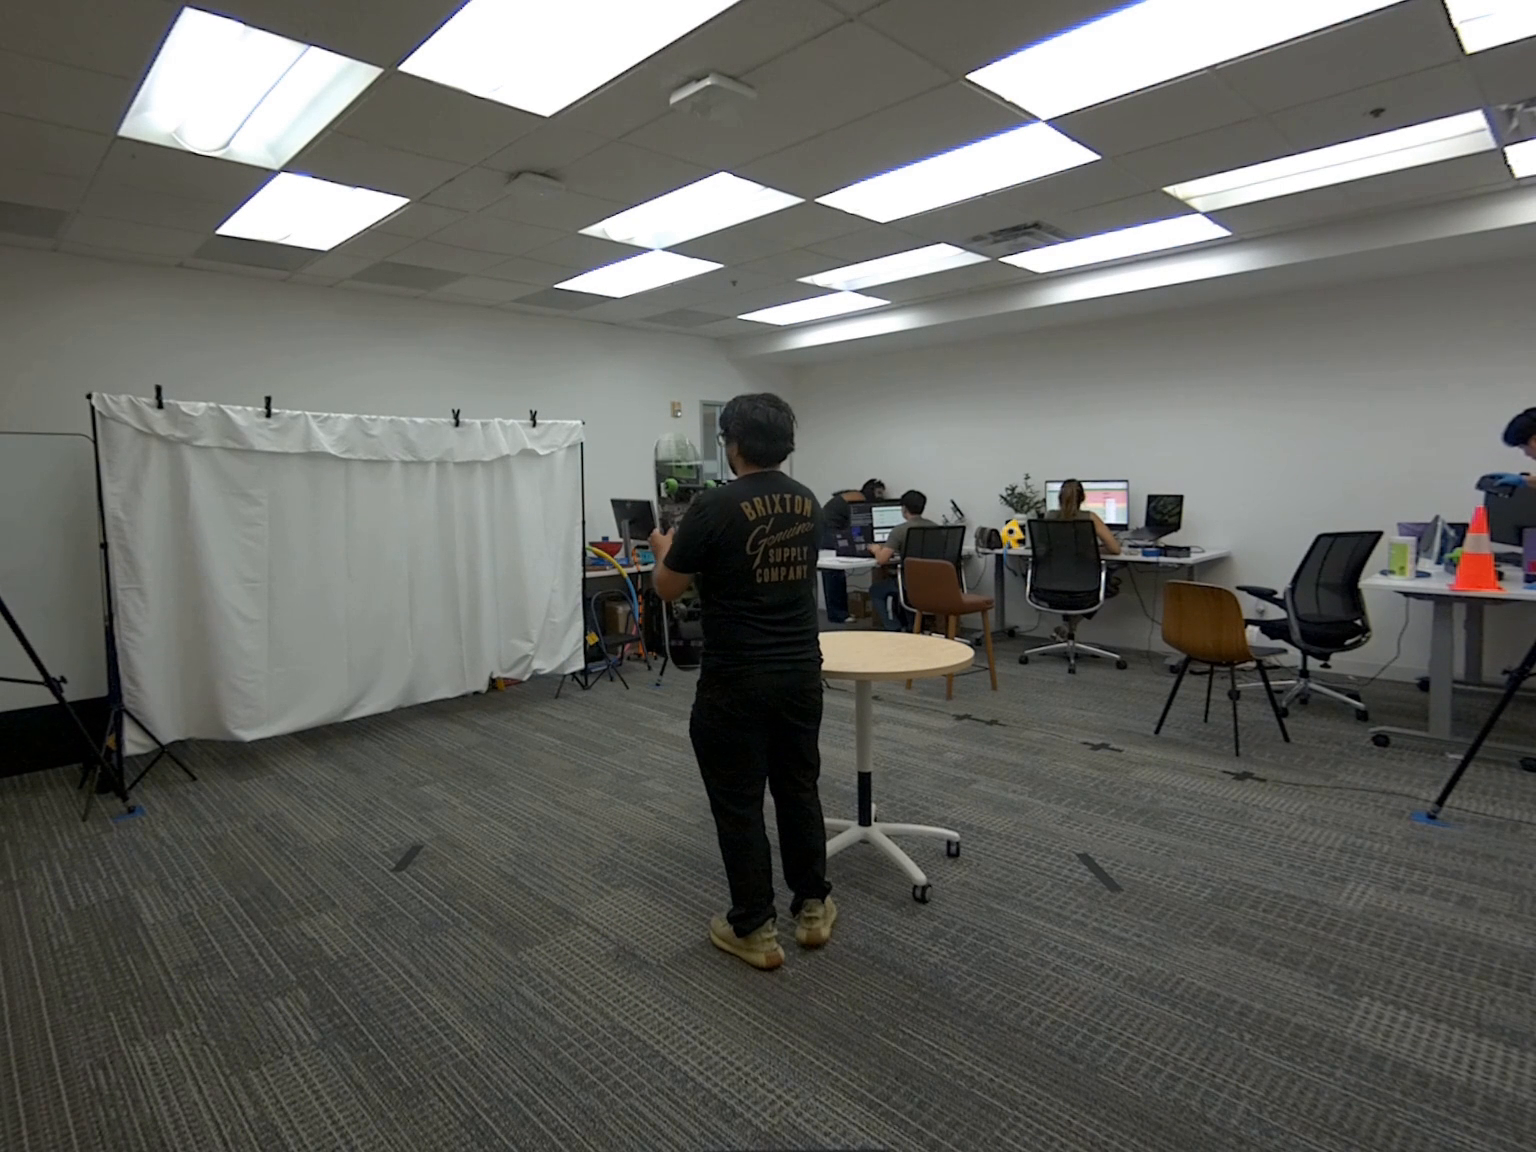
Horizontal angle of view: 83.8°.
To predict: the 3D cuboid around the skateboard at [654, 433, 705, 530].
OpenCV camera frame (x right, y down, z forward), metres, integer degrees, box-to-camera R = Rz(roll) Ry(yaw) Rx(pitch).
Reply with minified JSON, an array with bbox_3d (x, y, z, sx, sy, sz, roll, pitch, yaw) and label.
[{"bbox_3d":[-0.253,-0.088,2.784,0.188,0.789,0.113,-1,-6,-38],"label":"skateboard"}]
